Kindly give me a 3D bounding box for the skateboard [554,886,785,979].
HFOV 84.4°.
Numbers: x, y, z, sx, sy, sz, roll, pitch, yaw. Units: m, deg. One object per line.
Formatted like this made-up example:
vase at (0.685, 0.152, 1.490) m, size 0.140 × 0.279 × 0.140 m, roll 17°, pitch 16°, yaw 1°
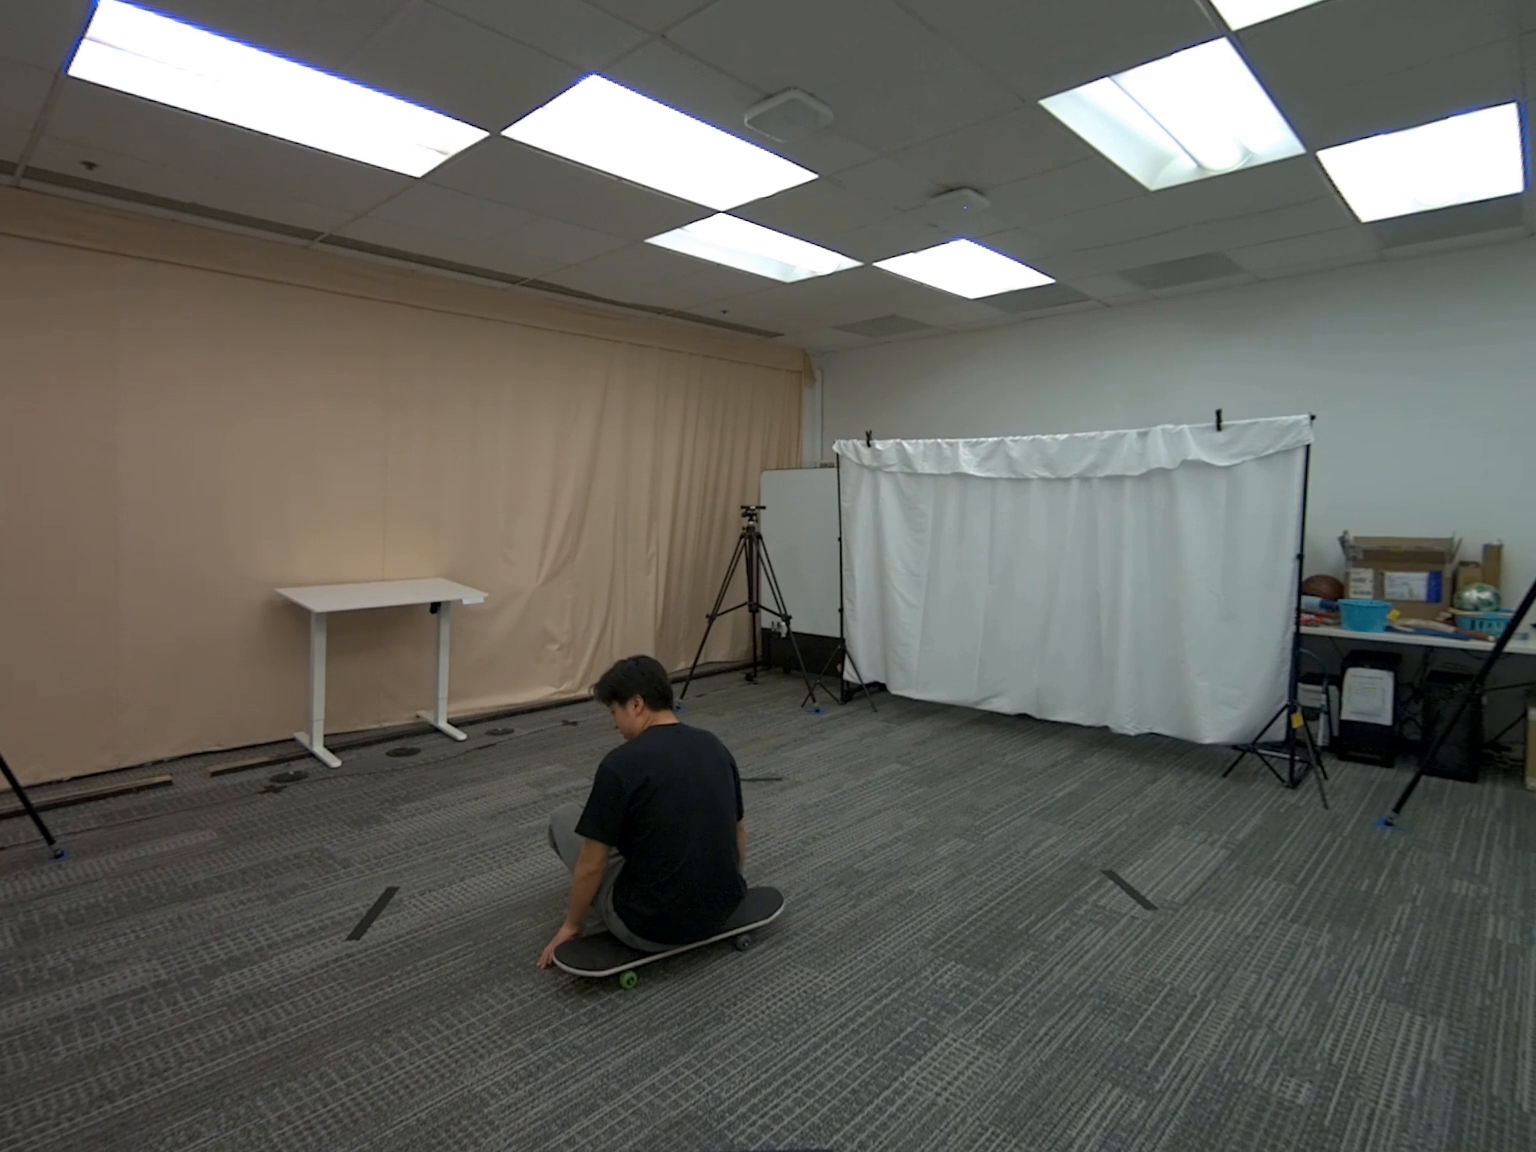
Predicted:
skateboard at (-0.291, 1.121, 2.603) m, size 0.764 × 0.110 × 0.200 m, roll -4°, pitch 10°, yaw -32°
